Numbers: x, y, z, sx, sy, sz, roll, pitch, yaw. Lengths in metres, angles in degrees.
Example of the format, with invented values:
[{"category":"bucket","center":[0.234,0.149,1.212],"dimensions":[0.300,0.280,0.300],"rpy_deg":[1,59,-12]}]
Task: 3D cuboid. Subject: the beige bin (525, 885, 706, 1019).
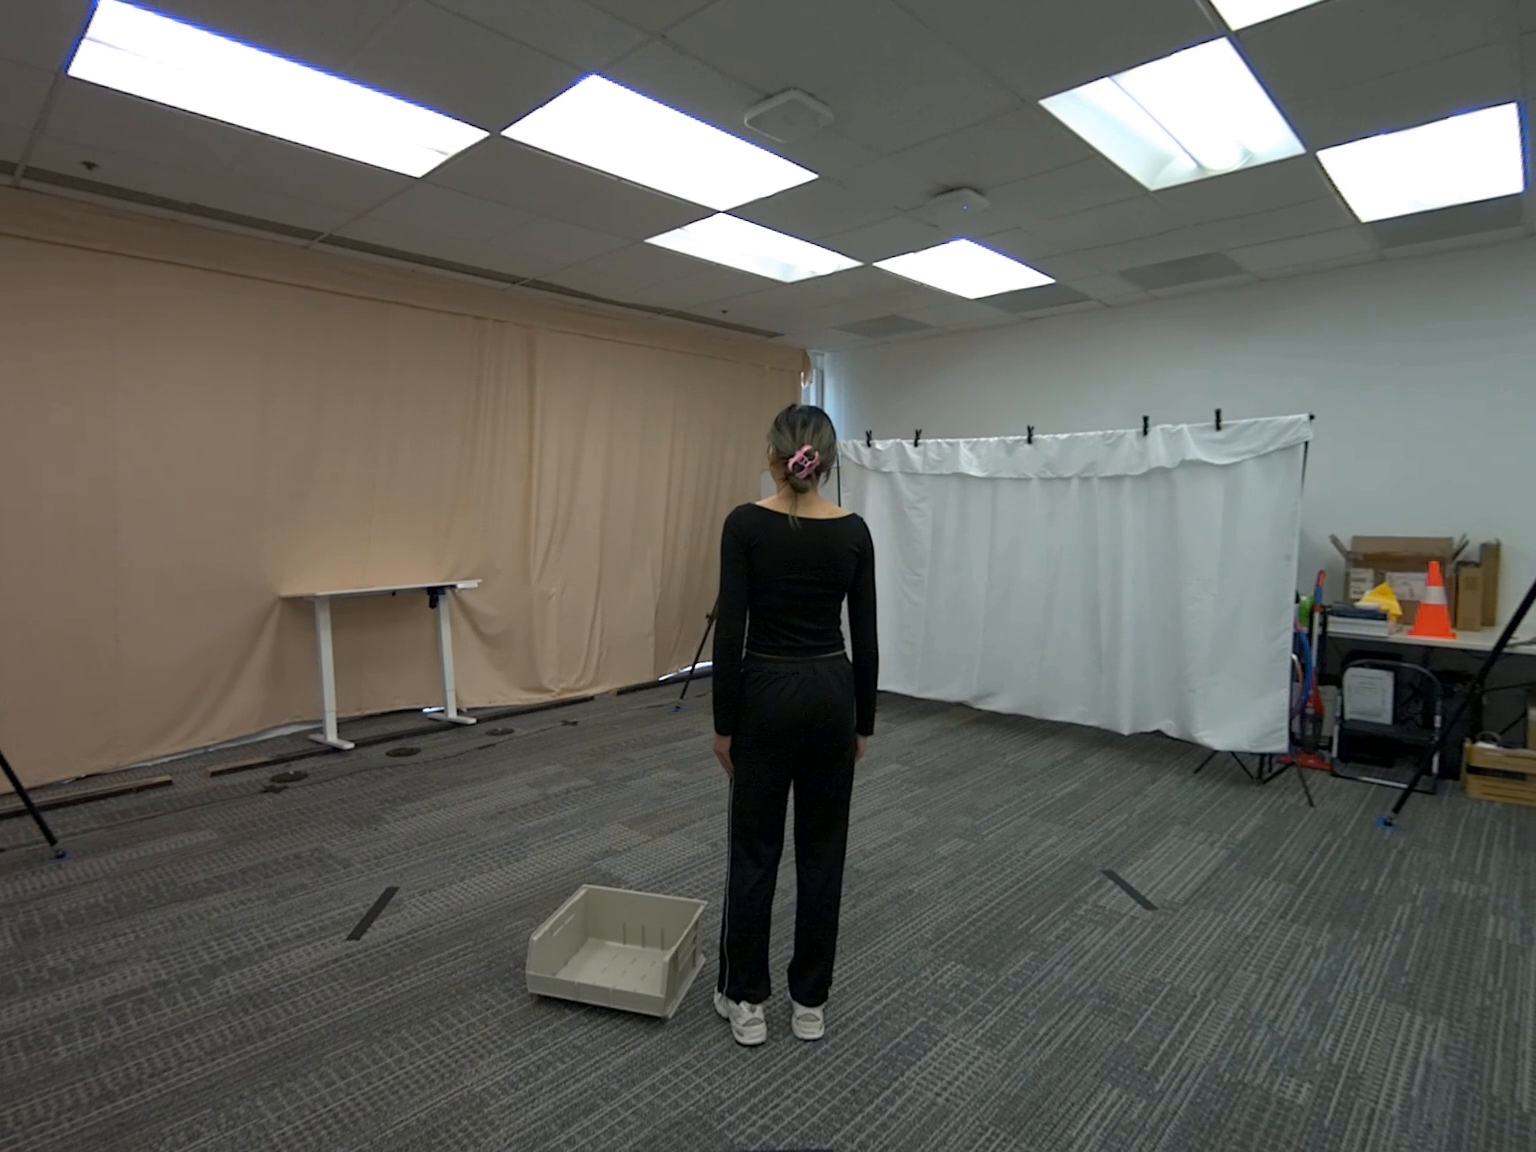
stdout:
[{"category":"beige bin","center":[-0.431,1.102,2.464],"dimensions":[0.430,0.189,0.371],"rpy_deg":[1,3,17]}]
